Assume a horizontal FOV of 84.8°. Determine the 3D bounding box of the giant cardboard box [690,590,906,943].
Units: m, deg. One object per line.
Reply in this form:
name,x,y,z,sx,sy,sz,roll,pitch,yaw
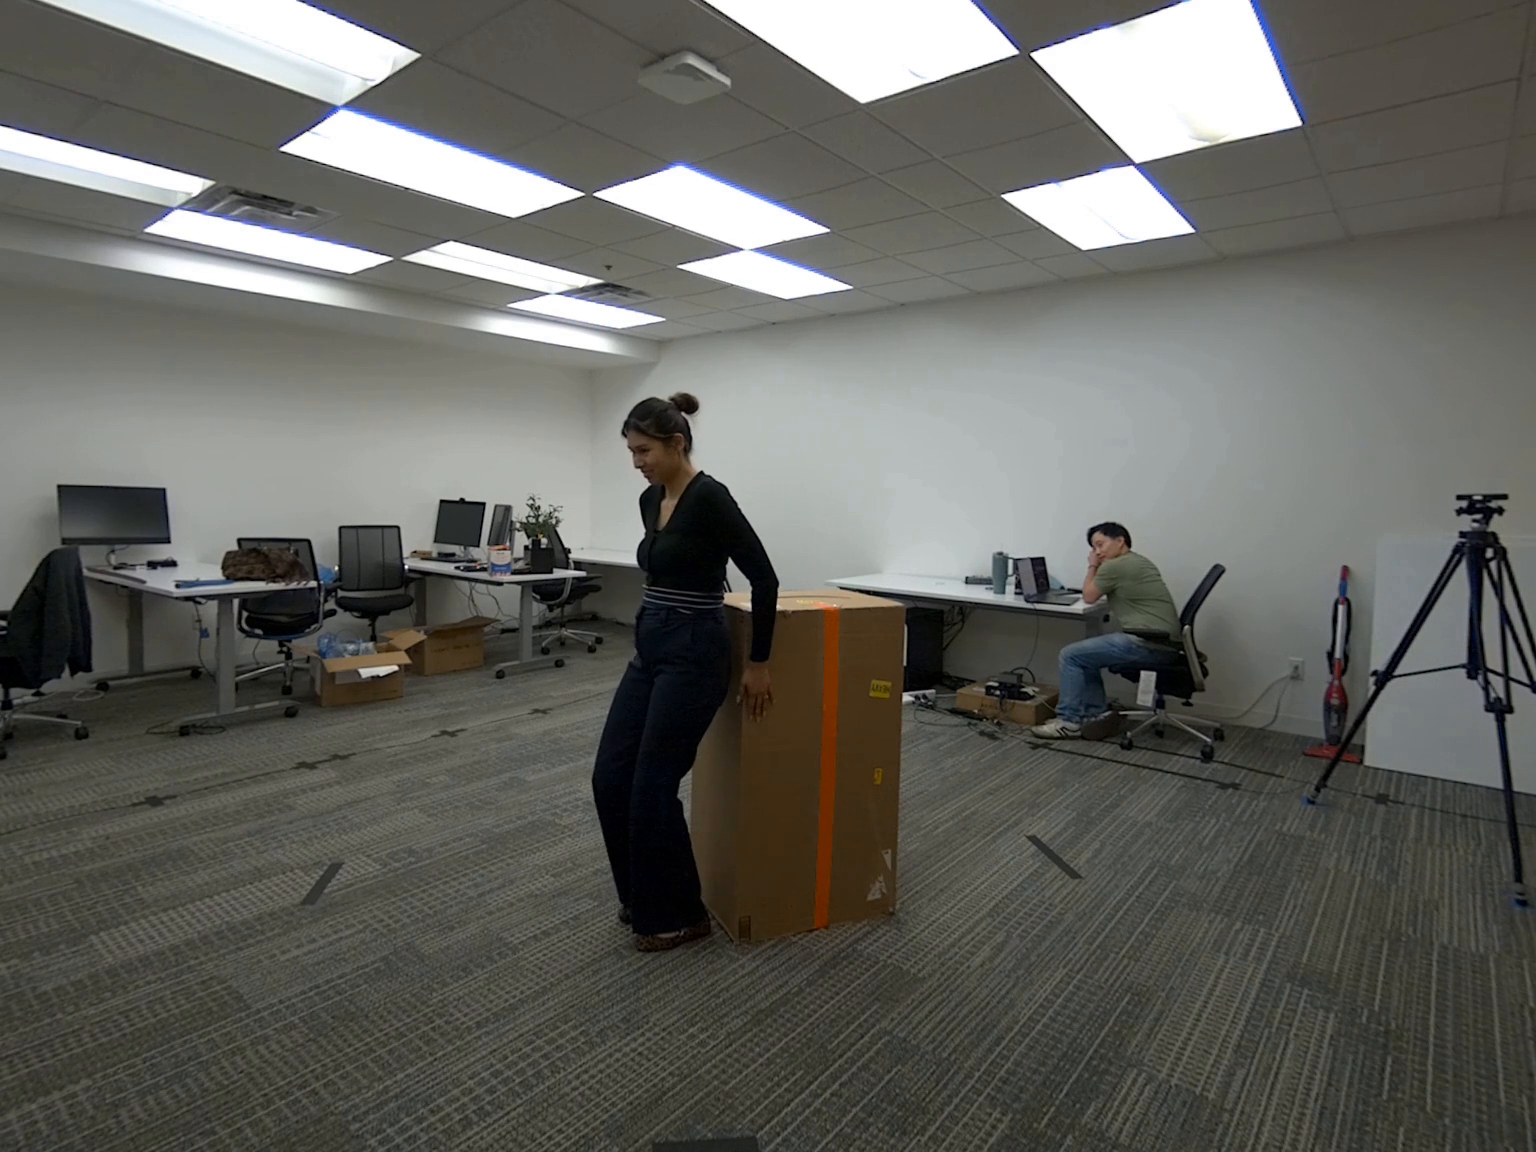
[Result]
giant cardboard box,0.083,0.584,2.860,0.564,1.022,0.438,0,4,-25
